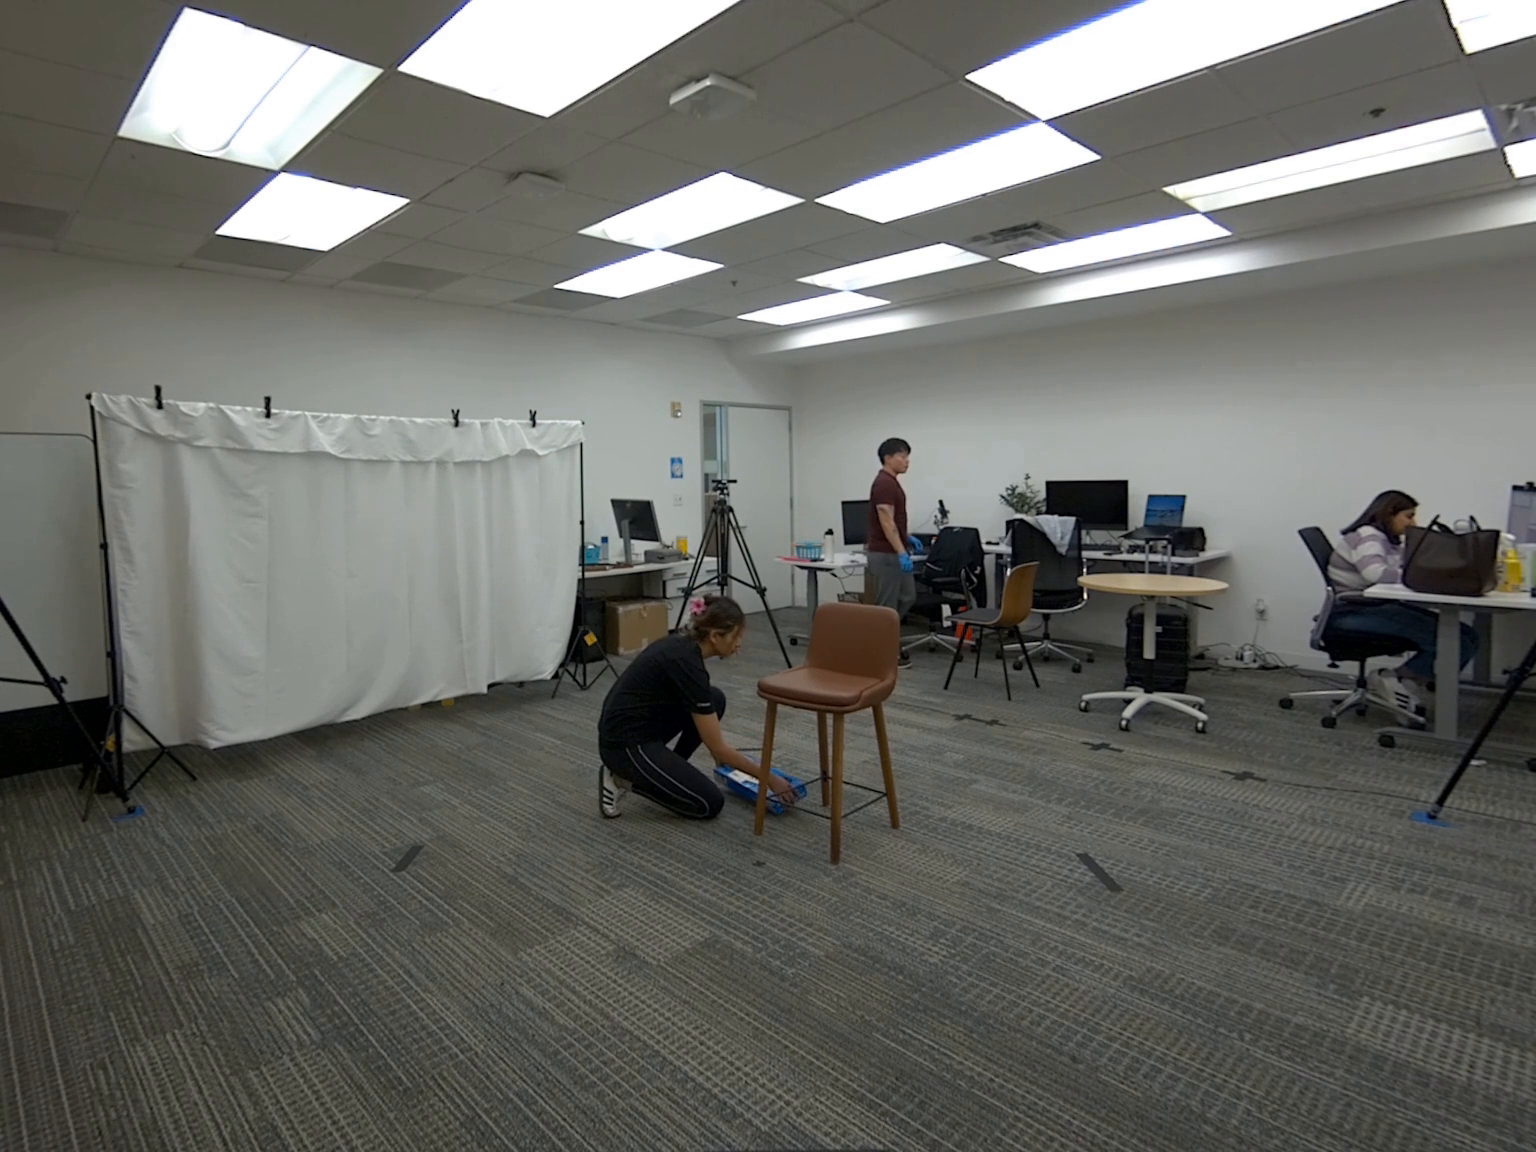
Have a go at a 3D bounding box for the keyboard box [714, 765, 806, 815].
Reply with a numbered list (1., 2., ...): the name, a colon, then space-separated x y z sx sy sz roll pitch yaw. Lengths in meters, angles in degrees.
1. keyboard box: -0.045 0.897 3.731 0.173 0.058 0.451 -22 21 -35
